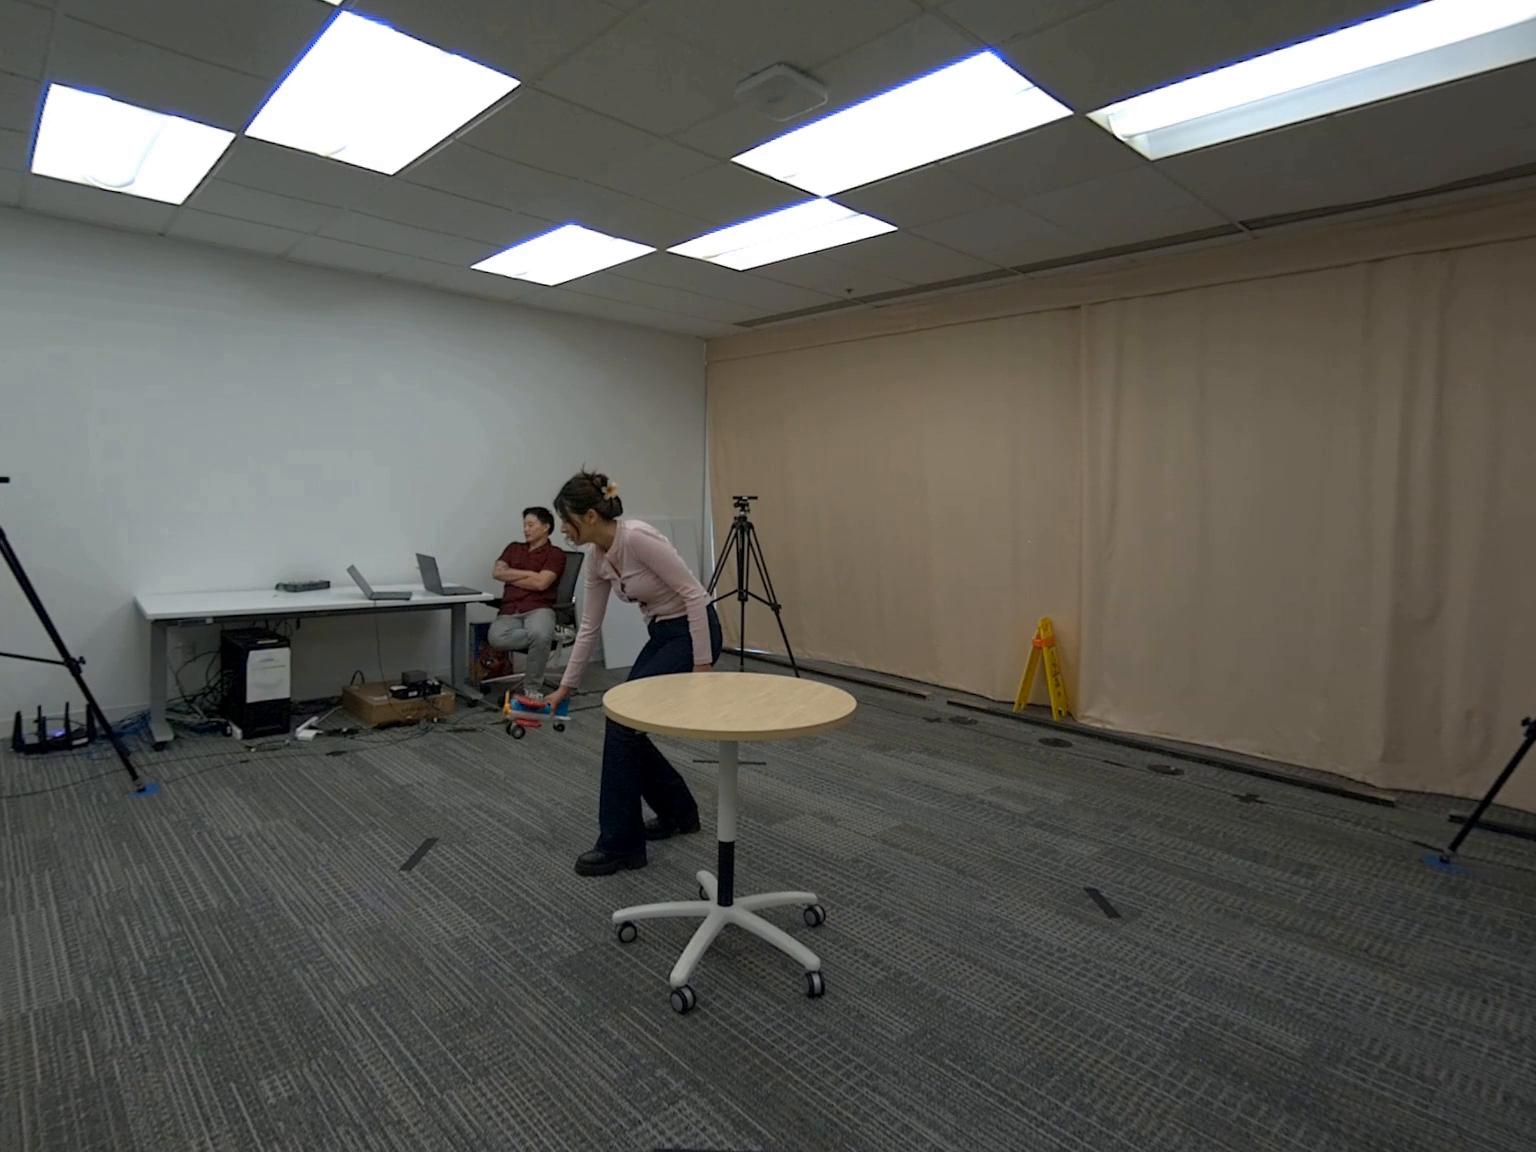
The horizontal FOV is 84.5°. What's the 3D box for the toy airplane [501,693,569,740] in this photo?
[{"bbox_3d":[-0.930,0.550,3.335,0.256,0.156,0.254,-2,1,34],"label":"toy airplane"}]
